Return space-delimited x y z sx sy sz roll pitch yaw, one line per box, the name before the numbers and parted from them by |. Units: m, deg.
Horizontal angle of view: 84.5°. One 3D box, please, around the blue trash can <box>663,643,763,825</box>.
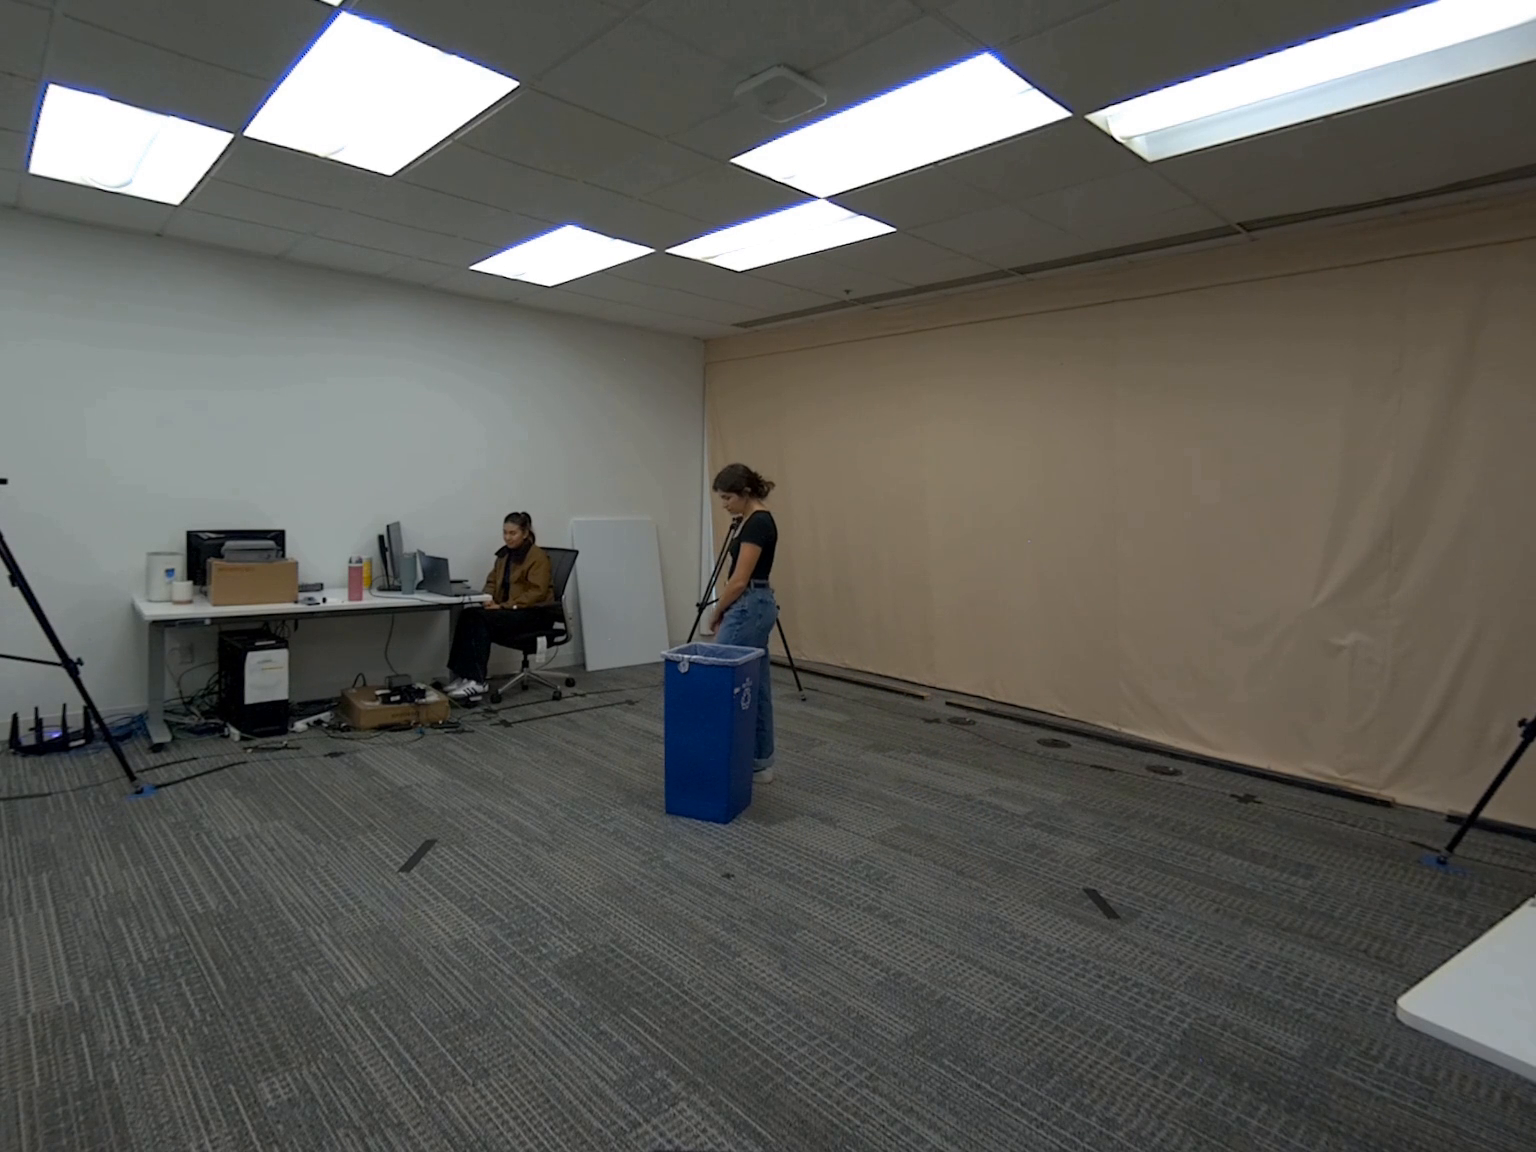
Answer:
blue trash can | -0.266 0.688 3.783 0.385 0.712 0.368 3 4 21
